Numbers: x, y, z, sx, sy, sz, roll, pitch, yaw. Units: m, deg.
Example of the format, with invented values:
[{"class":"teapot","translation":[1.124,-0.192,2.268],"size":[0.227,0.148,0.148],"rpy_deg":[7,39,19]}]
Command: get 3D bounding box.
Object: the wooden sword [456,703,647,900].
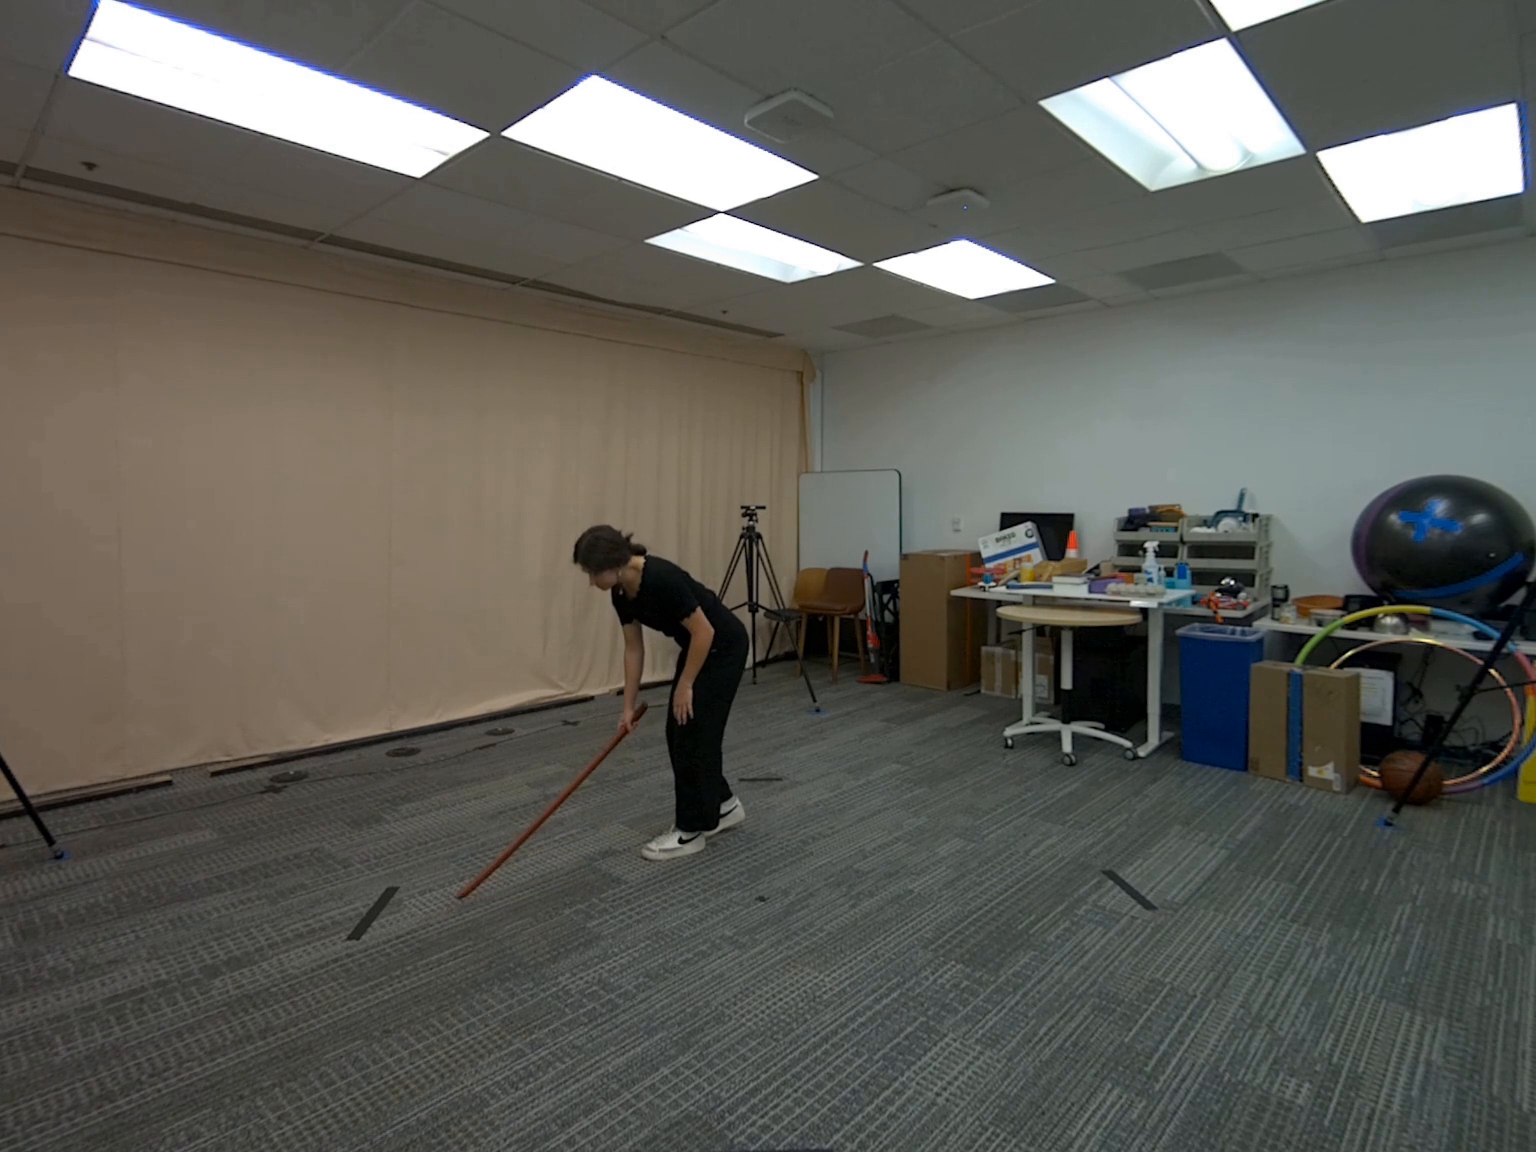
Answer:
[{"class":"wooden sword","translation":[-0.774,0.843,3.202],"size":[0.053,0.023,1.013],"rpy_deg":[9,40,41]}]
